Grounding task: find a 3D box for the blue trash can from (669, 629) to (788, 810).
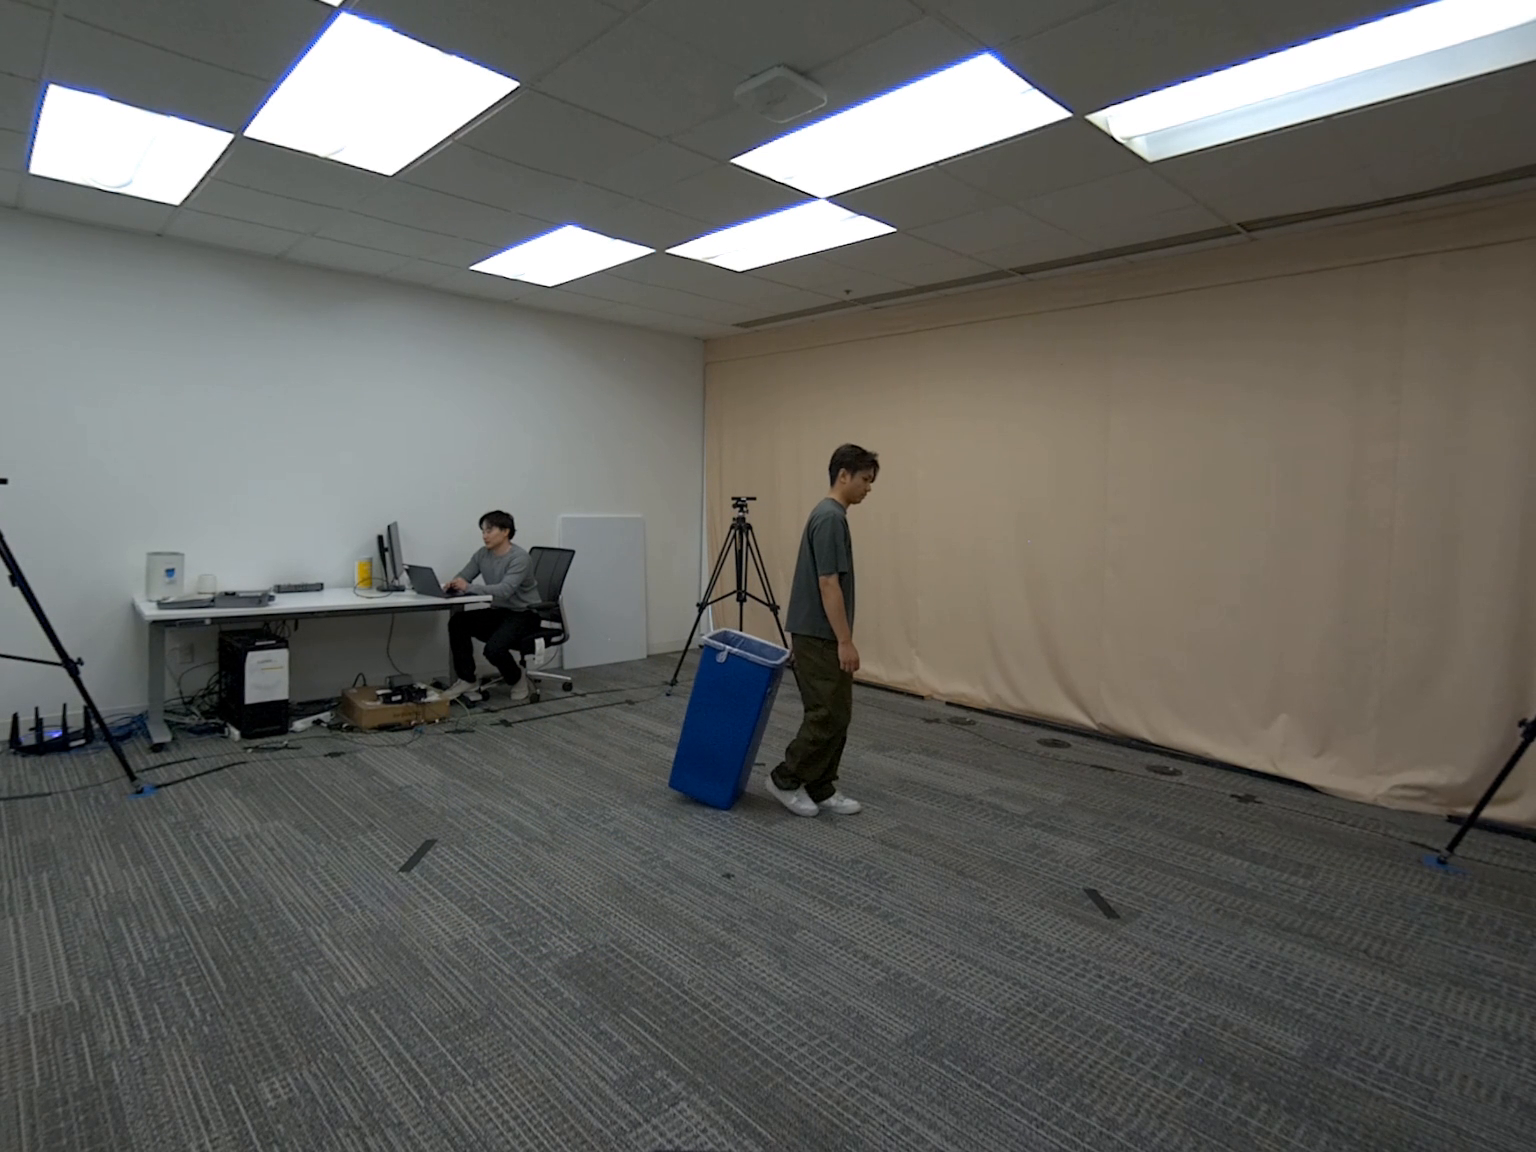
[{"bbox_3d":[-0.192,0.650,3.897,0.383,0.711,0.370,17,7,13],"label":"blue trash can"}]
